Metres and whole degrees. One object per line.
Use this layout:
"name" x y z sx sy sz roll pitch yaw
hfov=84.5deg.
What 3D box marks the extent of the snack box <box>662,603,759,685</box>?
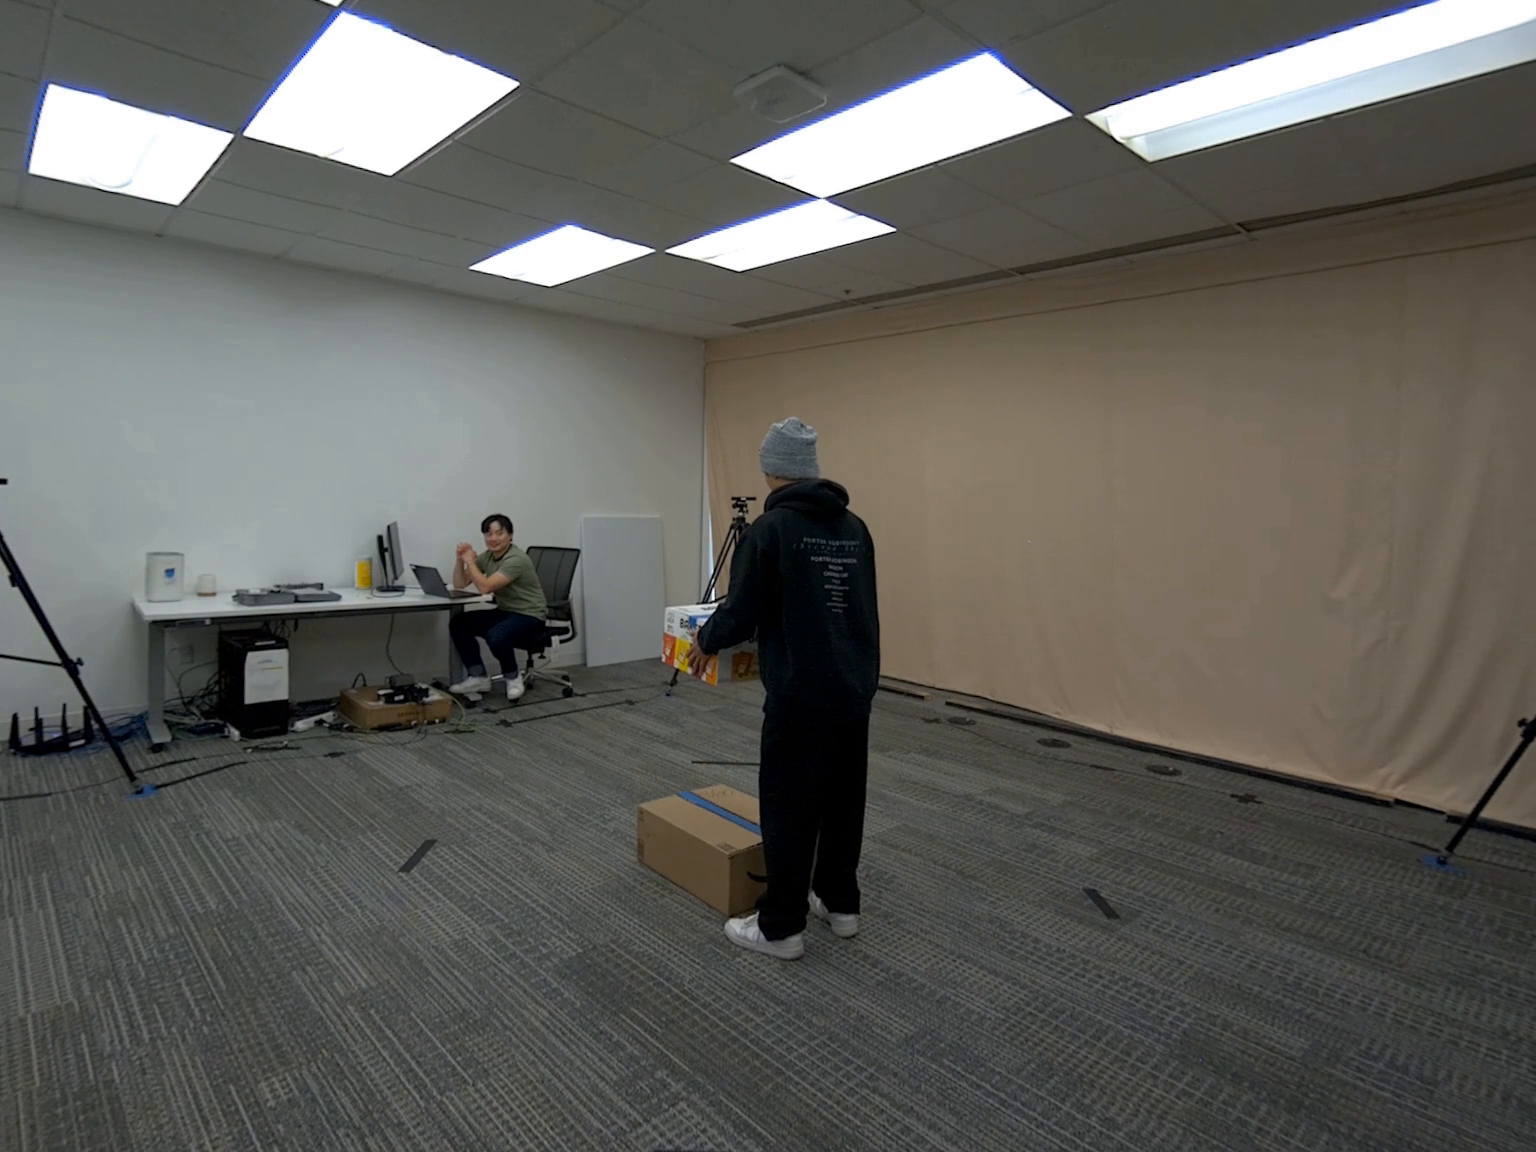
"snack box" -0.128 0.236 3.067 0.396 0.204 0.350 -3 12 -38
